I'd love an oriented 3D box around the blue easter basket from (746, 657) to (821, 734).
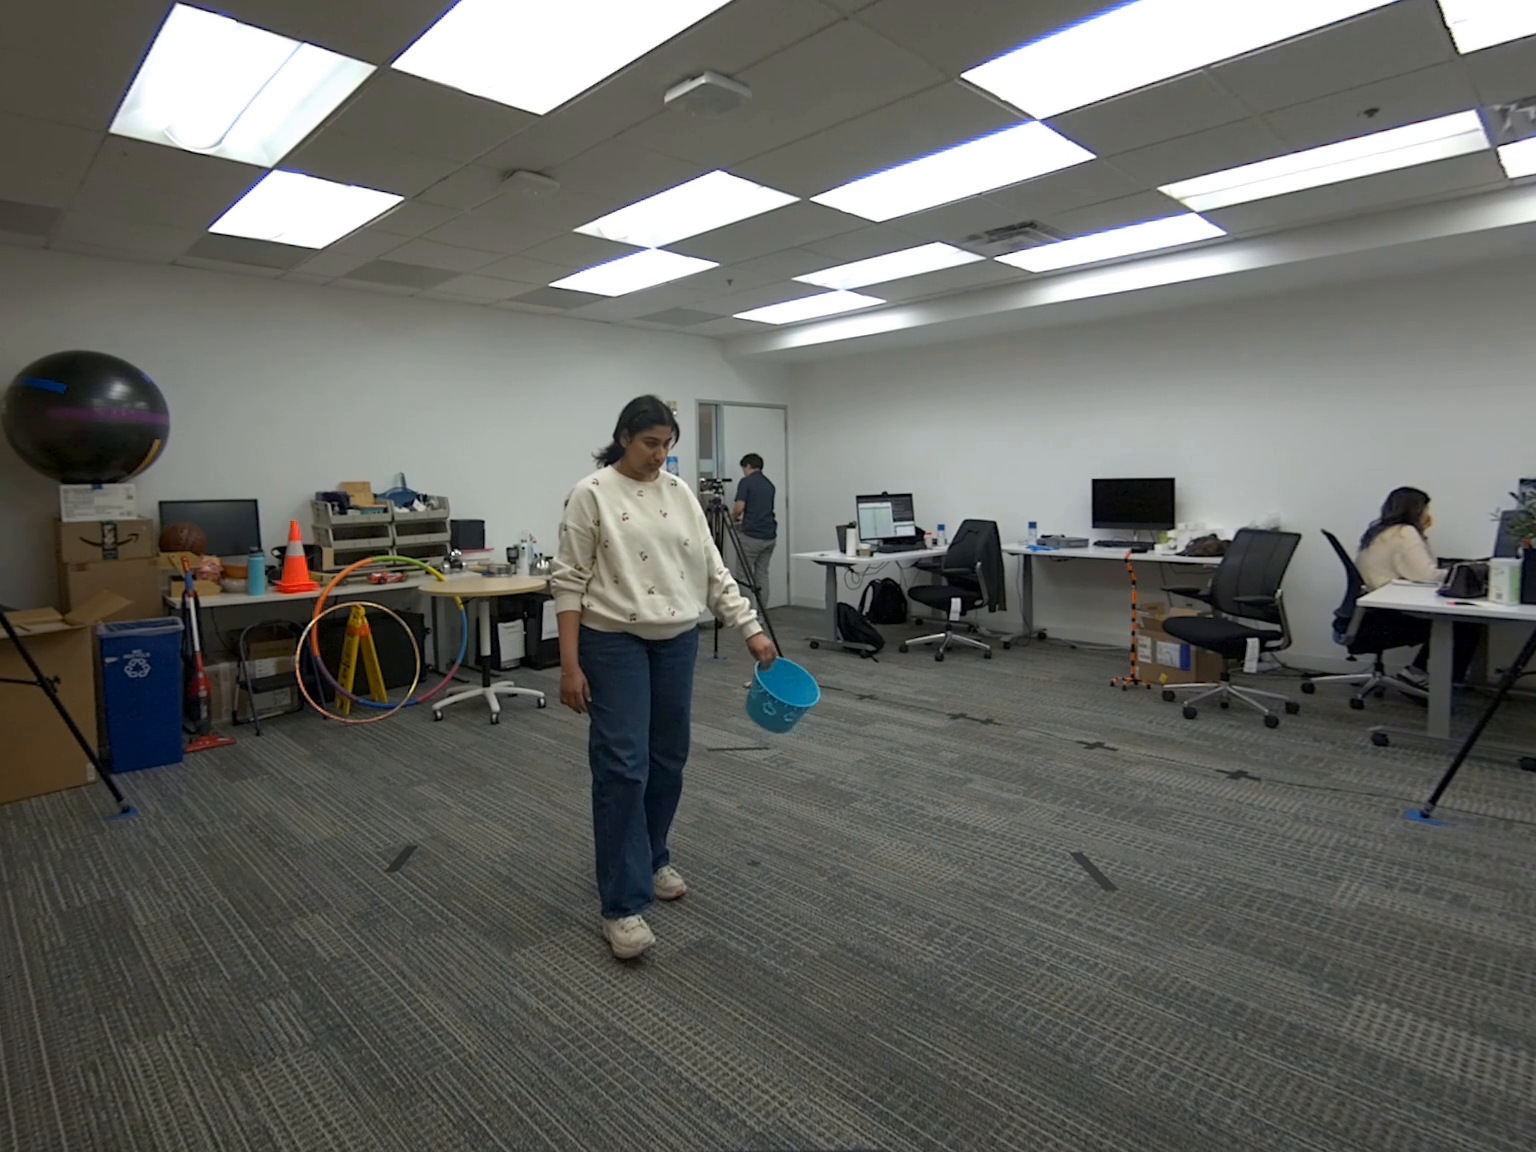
[{"bbox_3d":[0.023,0.392,2.855,0.240,0.154,0.249,19,28,-12],"label":"blue easter basket"}]
